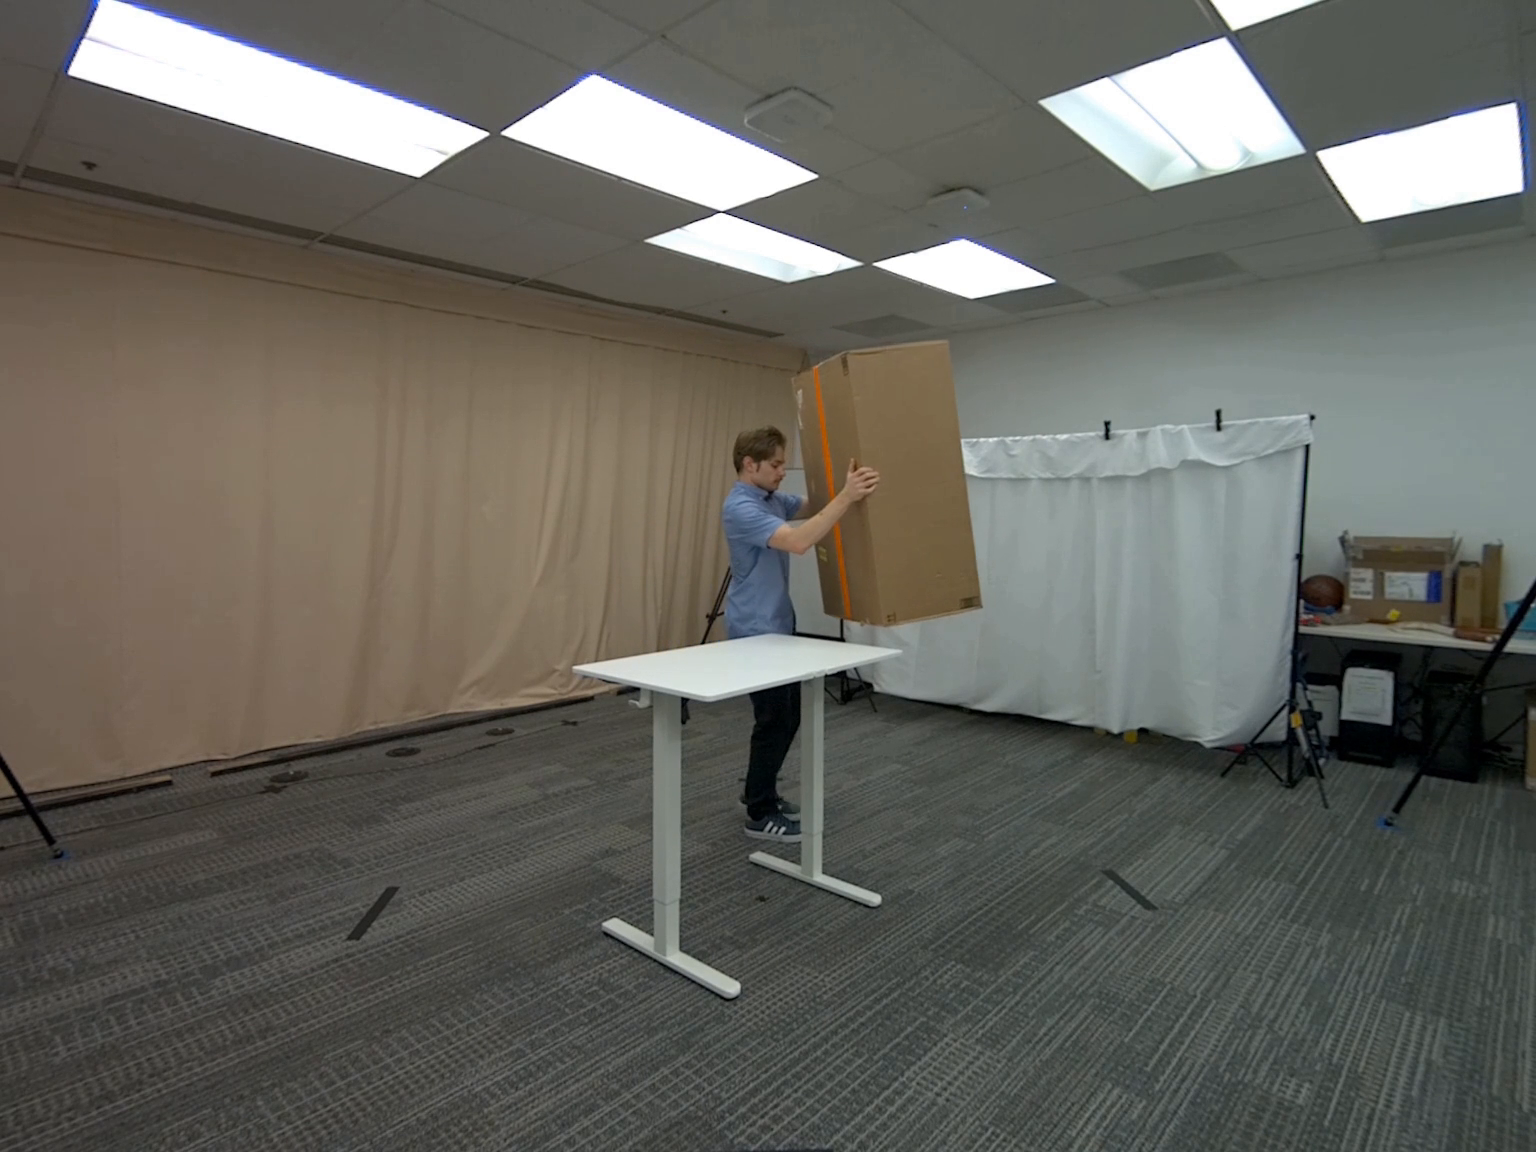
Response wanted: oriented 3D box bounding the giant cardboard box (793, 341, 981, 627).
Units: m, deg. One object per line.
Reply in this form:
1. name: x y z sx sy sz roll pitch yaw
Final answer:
1. giant cardboard box: 0.462 -0.354 3.391 0.420 1.023 0.587 -10 4 -16
